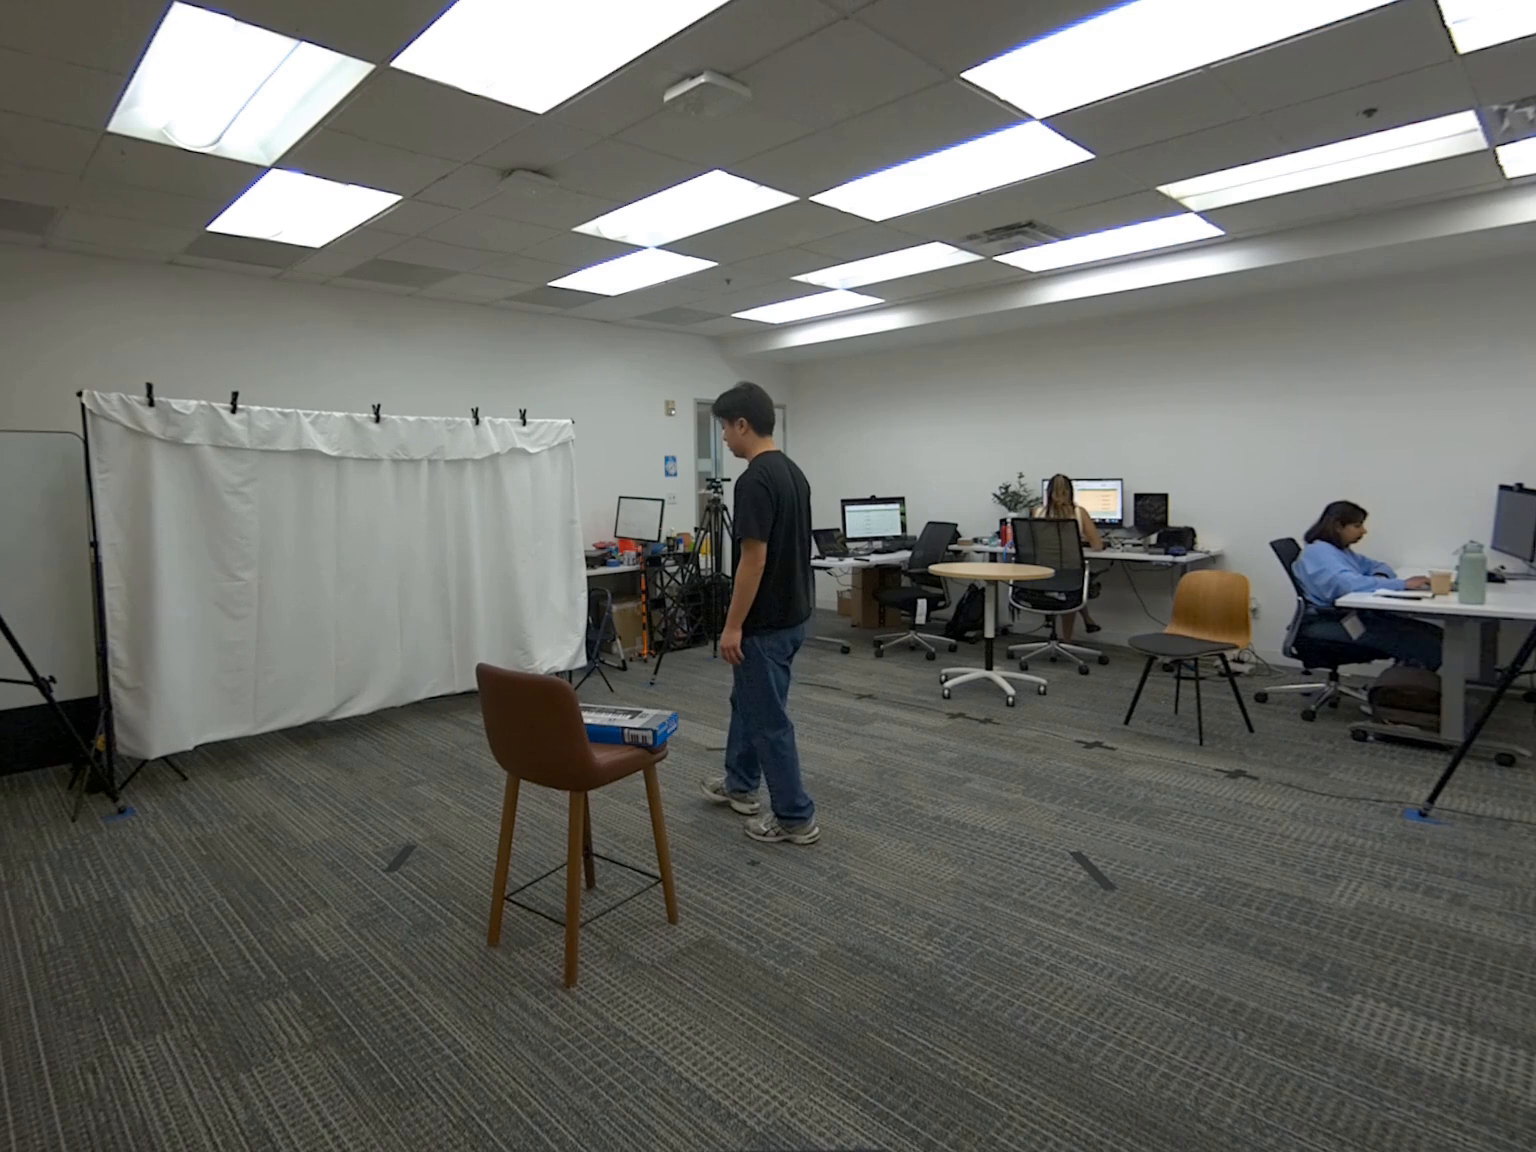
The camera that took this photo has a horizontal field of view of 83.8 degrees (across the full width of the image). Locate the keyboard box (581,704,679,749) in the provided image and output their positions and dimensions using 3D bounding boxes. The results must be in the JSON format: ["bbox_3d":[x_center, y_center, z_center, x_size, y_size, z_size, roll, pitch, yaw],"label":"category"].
[{"bbox_3d":[-0.512,0.456,2.661,0.445,0.059,0.174,2,8,19],"label":"keyboard box"}]
